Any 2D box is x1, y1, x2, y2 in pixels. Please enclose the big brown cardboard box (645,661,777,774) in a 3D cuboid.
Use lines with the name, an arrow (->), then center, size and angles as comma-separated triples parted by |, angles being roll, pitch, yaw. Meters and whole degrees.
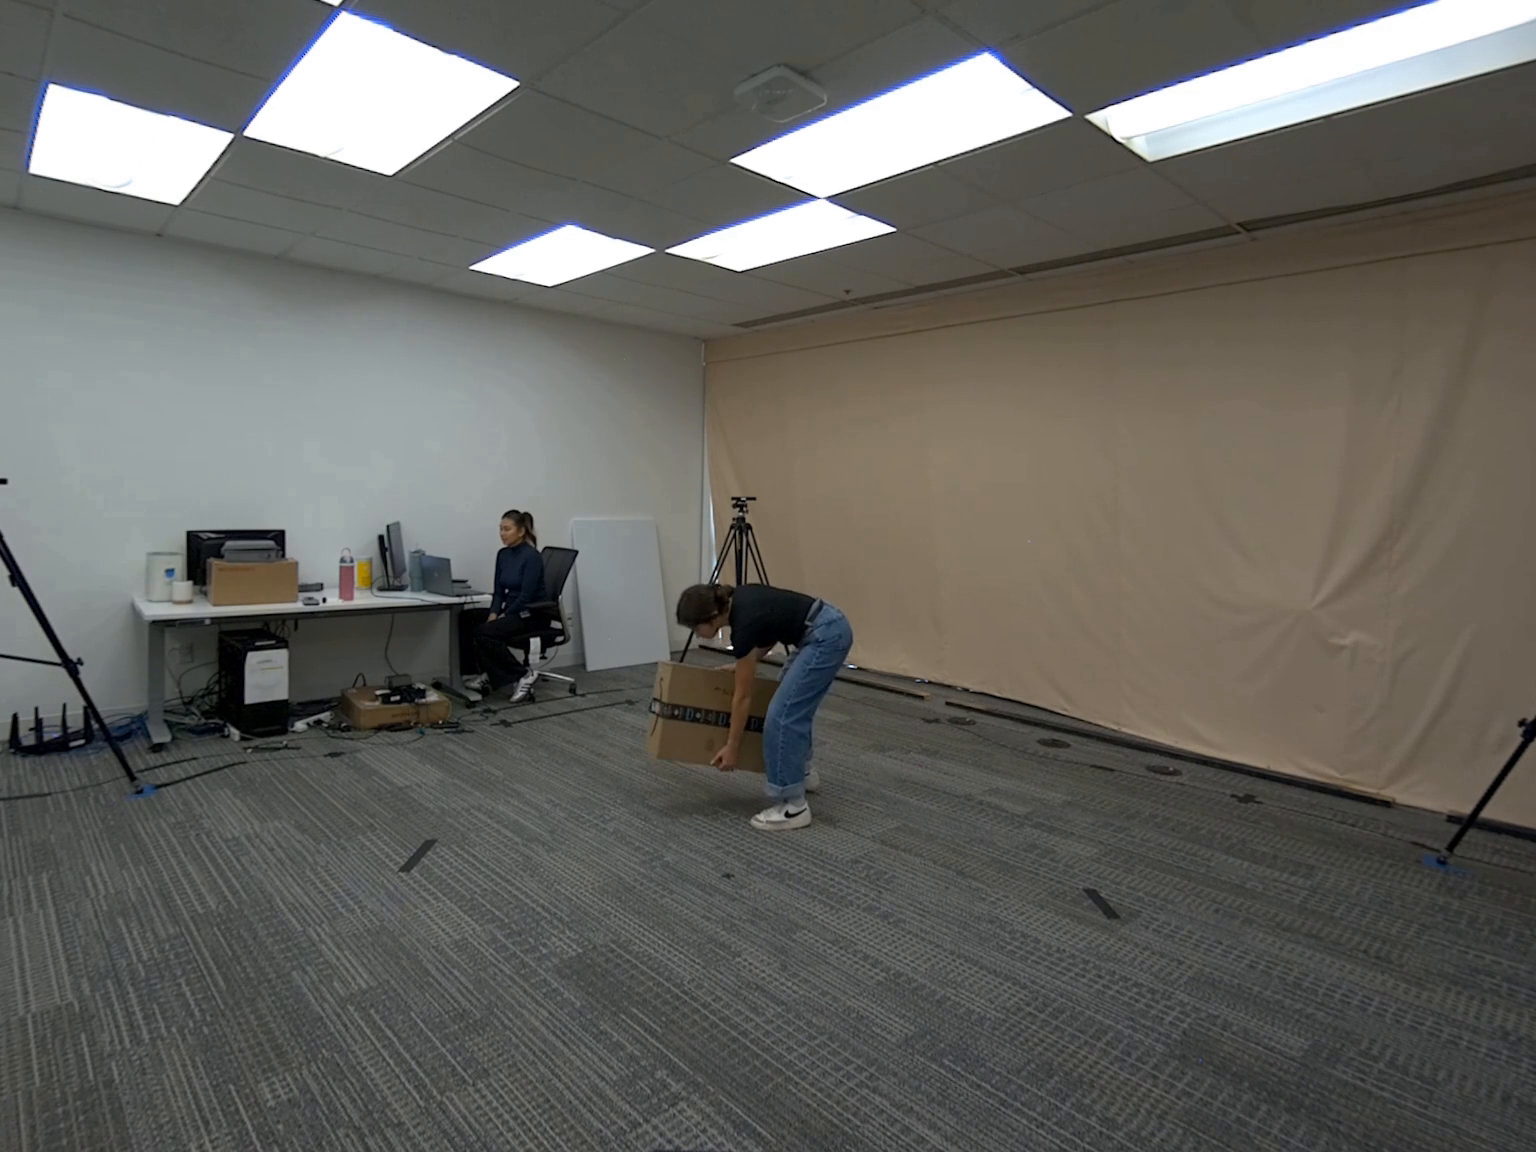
big brown cardboard box -> -0.251, 0.637, 3.836 | 0.579, 0.420, 0.236 | 12, -9, -18
